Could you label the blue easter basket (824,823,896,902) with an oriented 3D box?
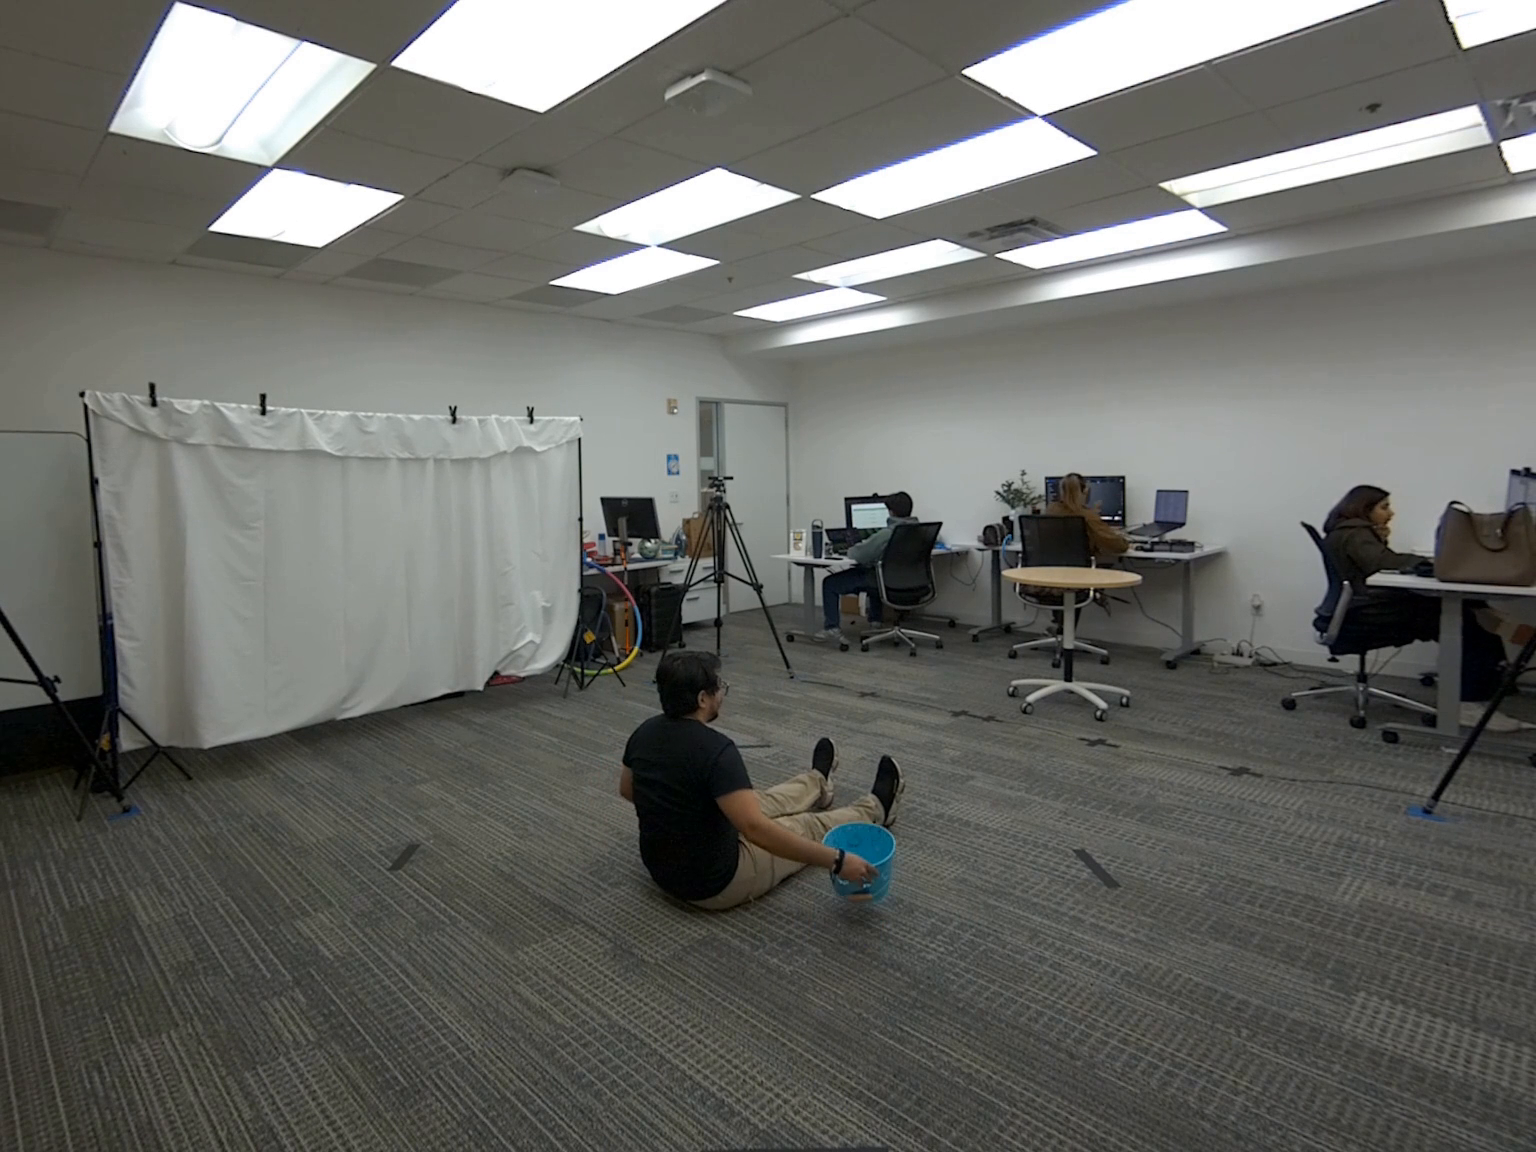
[{"bbox_3d":[0.289,0.920,2.689,0.244,0.154,0.247,-6,14,0],"label":"blue easter basket"}]
